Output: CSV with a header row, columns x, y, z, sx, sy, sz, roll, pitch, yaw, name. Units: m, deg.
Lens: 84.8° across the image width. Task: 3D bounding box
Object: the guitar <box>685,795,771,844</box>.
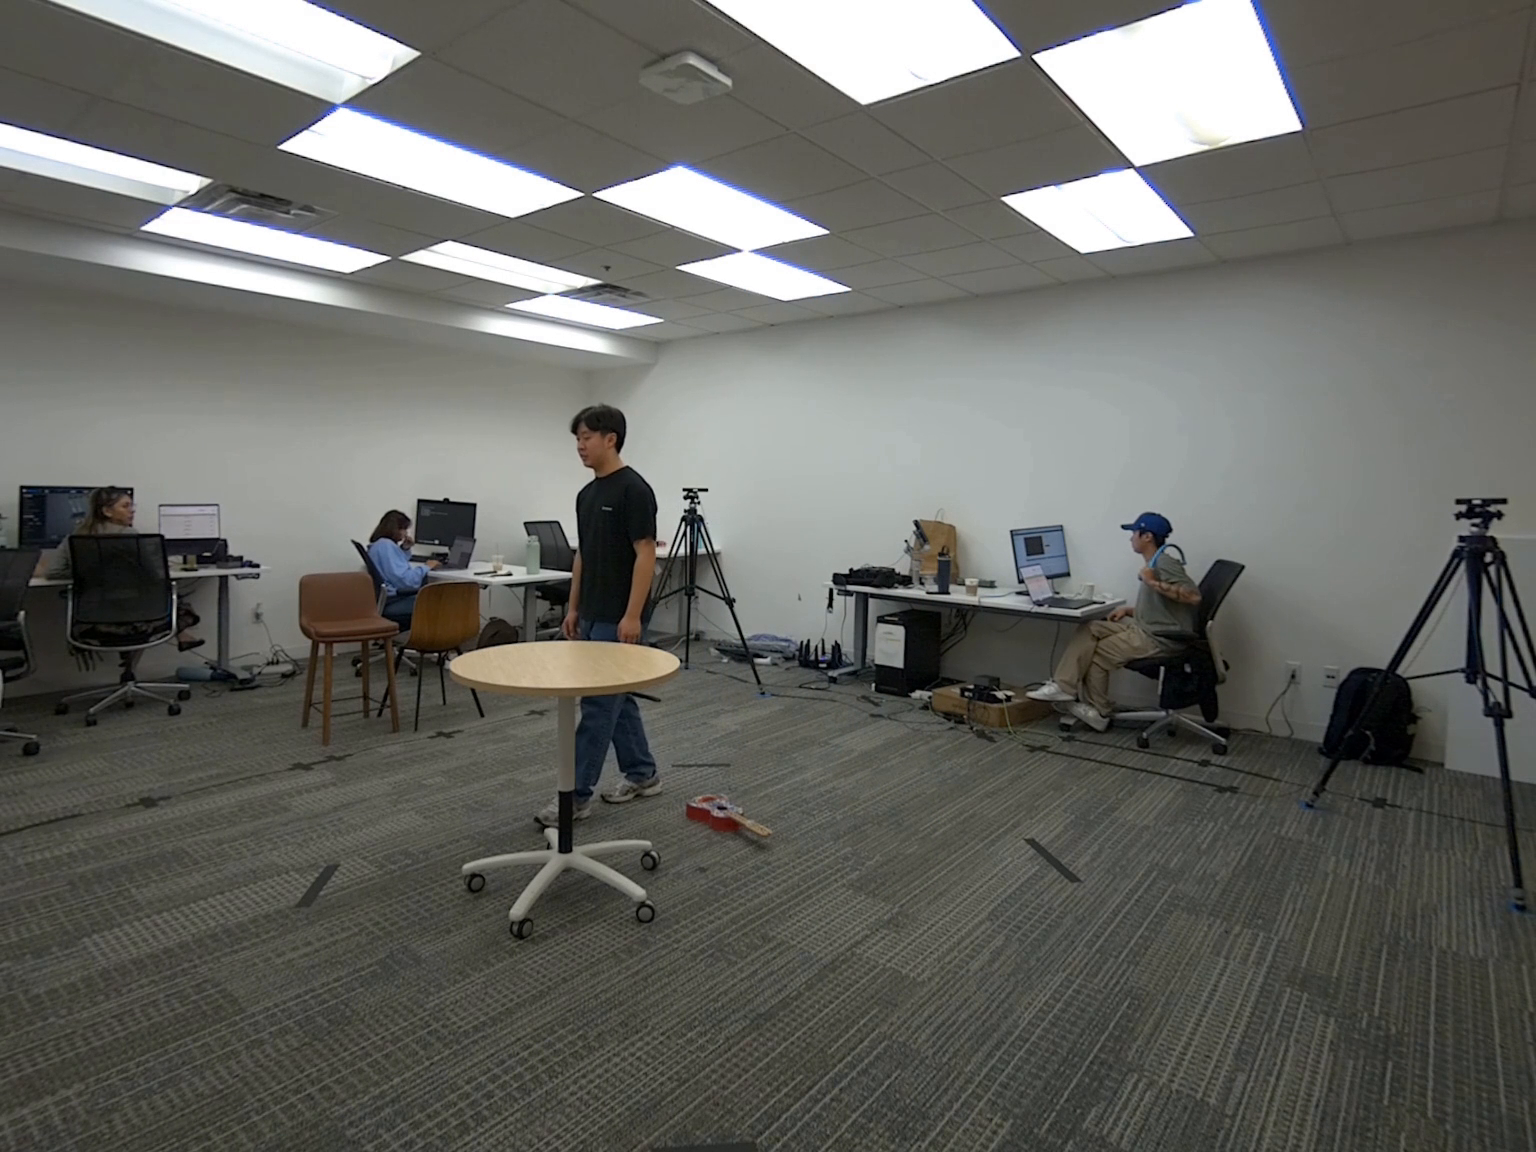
x,y,z,sx,sy,sz,roll,pitch,yaw,name
-0.183,1.000,3.481,0.188,0.070,0.512,-1,5,-27,guitar
